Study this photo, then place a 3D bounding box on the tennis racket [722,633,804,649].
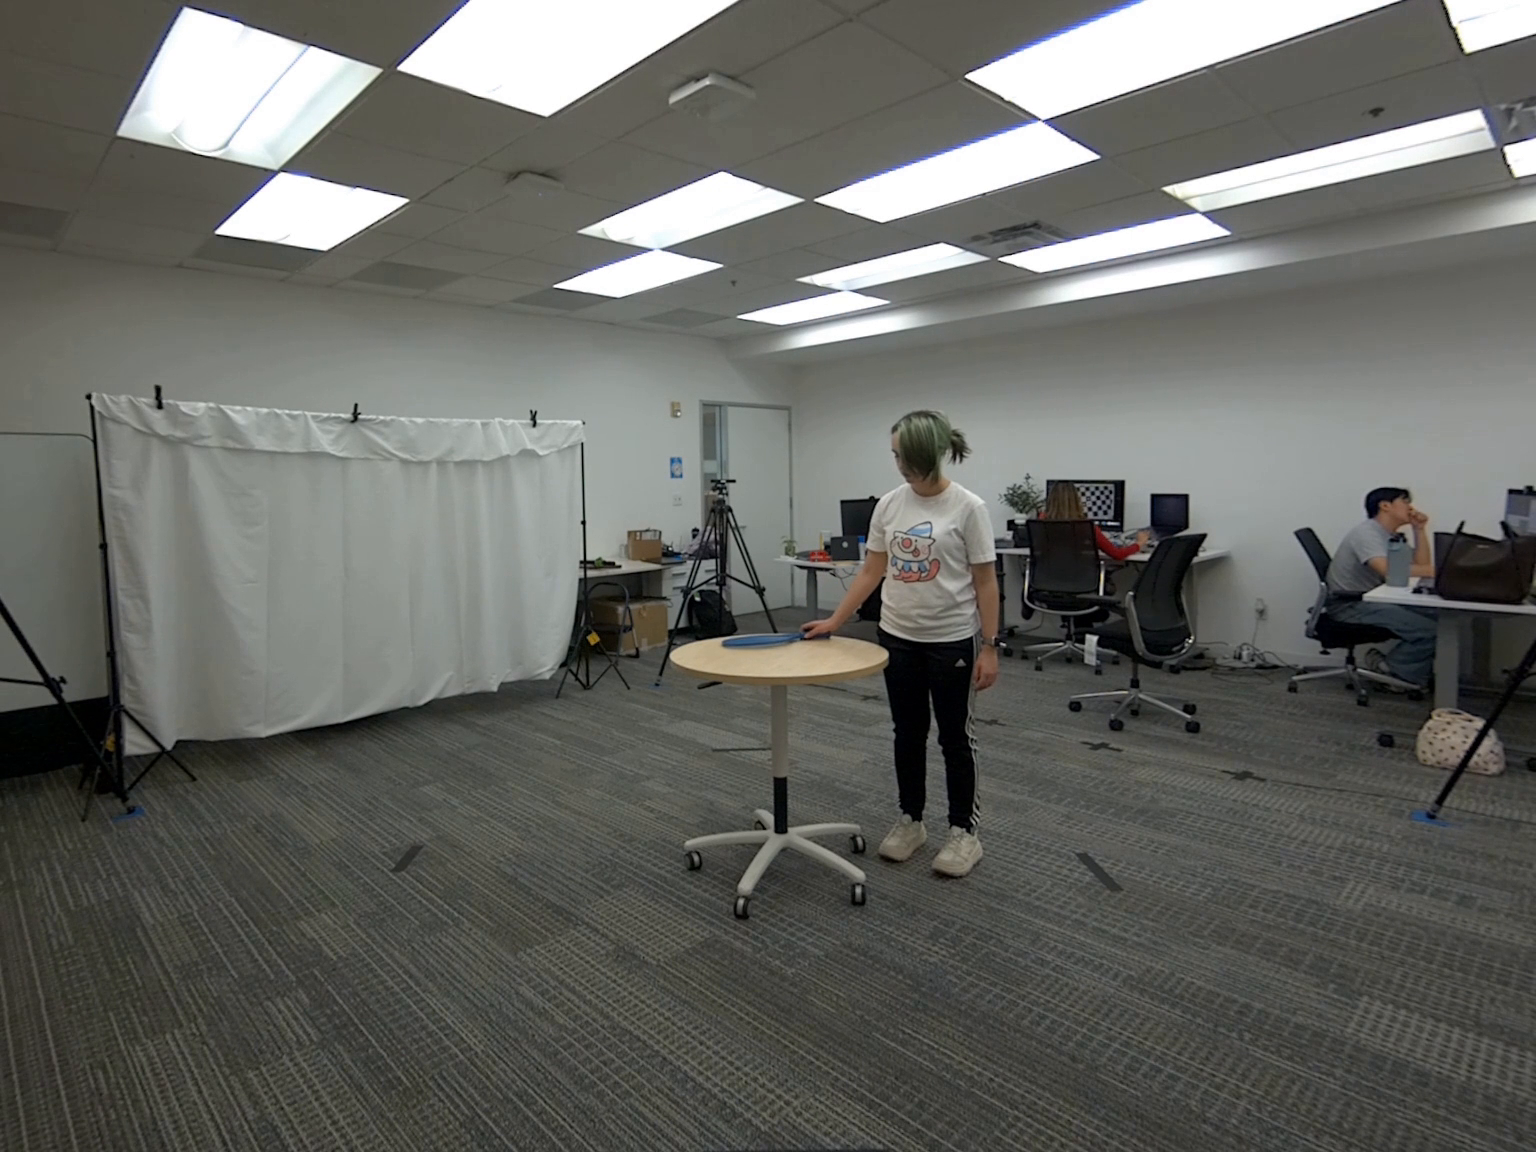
[{"bbox_3d":[0.038,0.237,3.216,0.428,0.031,0.216,-4,4,-11],"label":"tennis racket"}]
